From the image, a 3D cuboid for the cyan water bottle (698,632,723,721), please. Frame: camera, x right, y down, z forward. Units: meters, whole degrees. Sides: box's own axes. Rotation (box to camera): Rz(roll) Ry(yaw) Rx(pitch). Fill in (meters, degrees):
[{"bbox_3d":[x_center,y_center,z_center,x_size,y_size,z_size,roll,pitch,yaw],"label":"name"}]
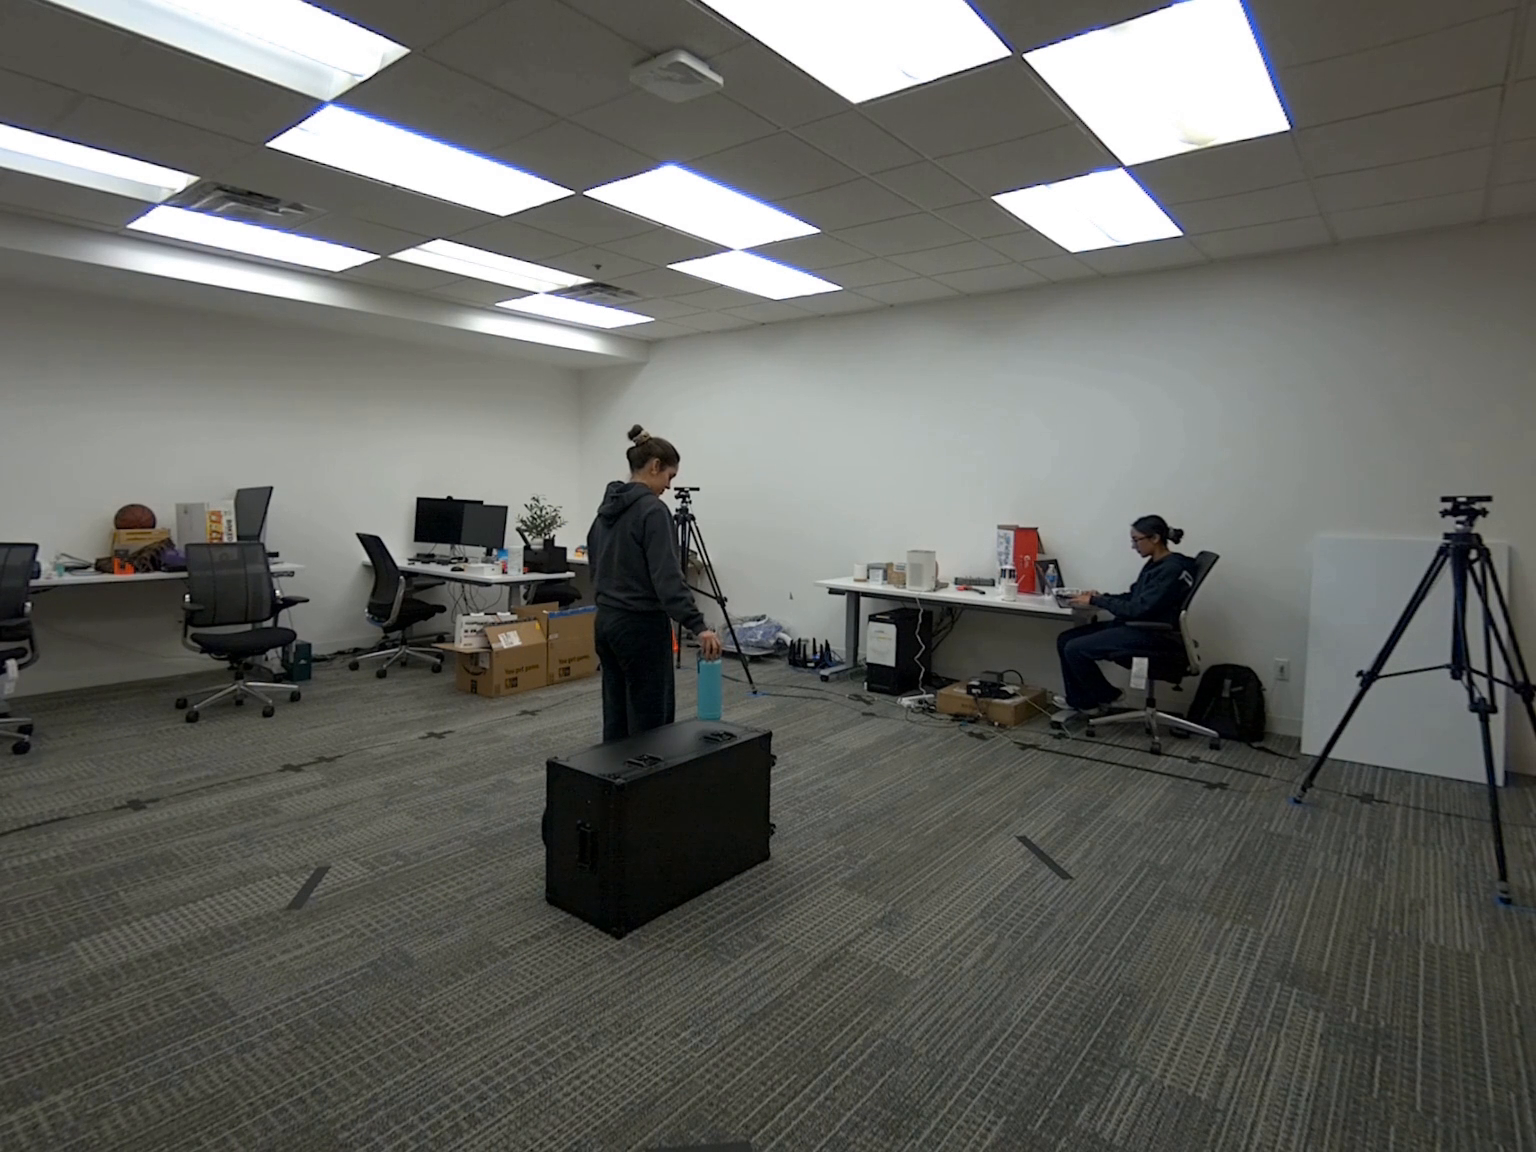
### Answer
[{"bbox_3d":[-0.225,0.395,3.196,0.092,0.283,0.092,0,2,-2],"label":"cyan water bottle"}]
